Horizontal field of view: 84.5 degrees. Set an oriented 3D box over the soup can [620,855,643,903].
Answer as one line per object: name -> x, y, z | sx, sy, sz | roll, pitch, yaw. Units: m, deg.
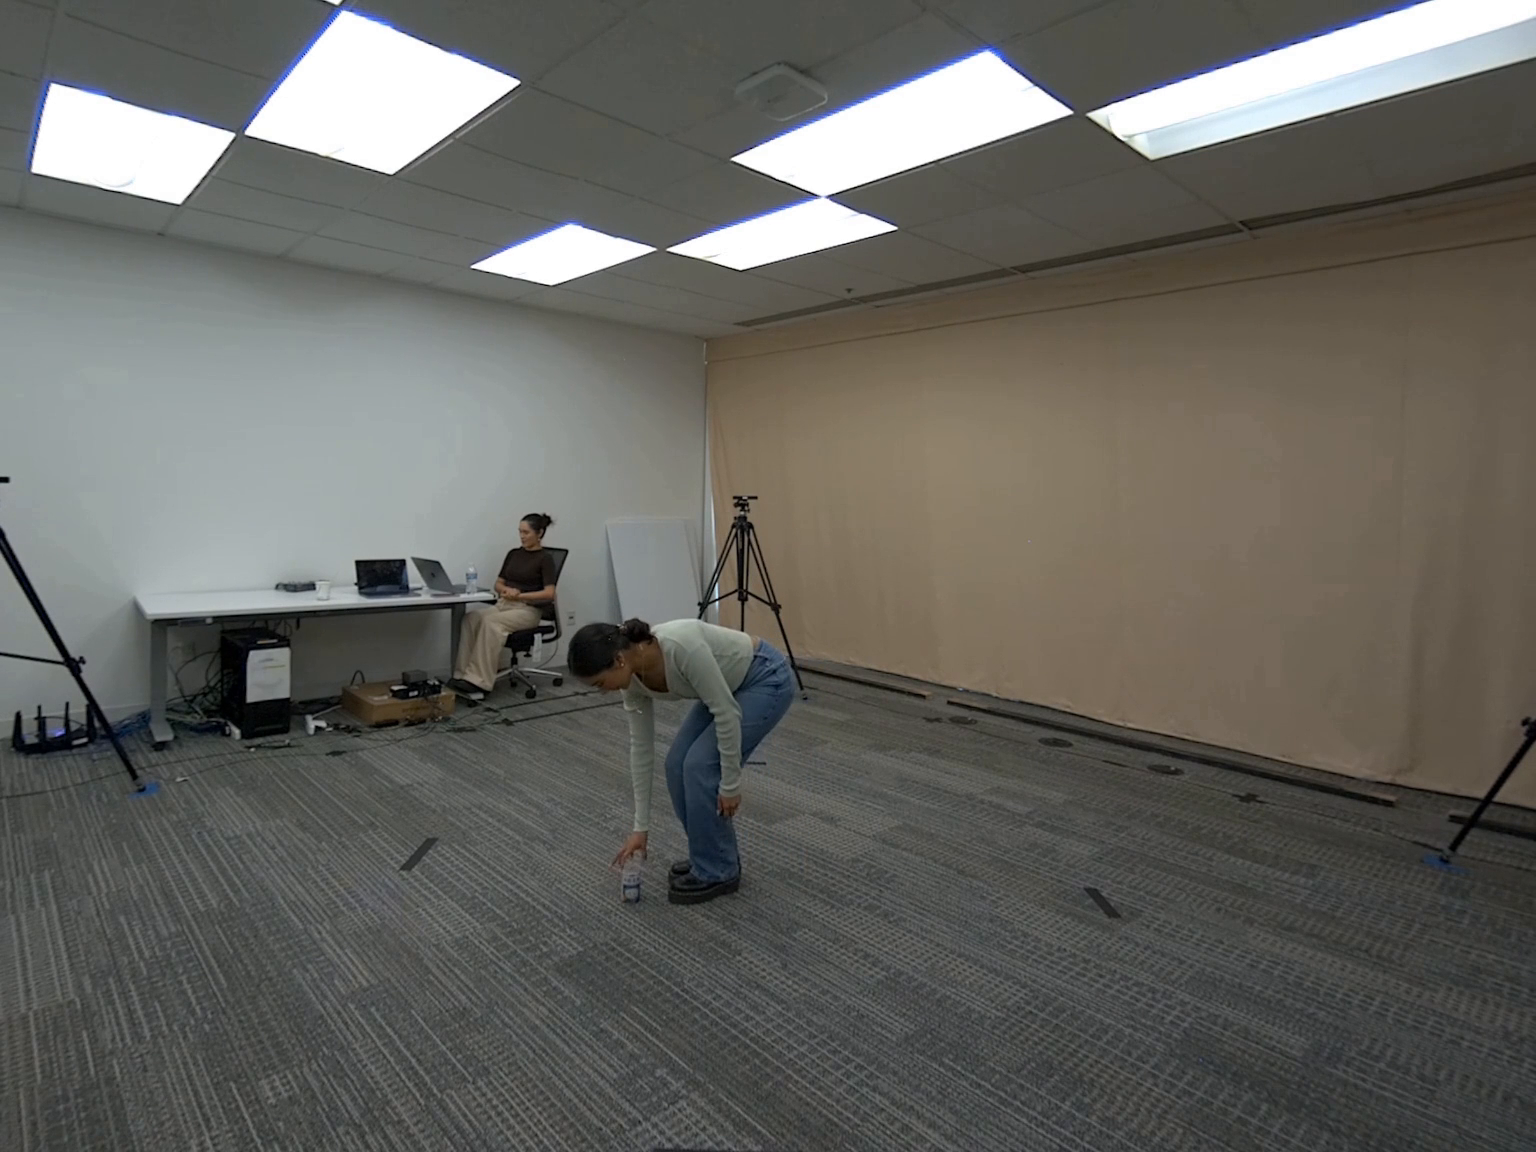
soup can -> -0.471, 1.056, 2.887 | 0.067, 0.121, 0.067 | 2, 2, -1
